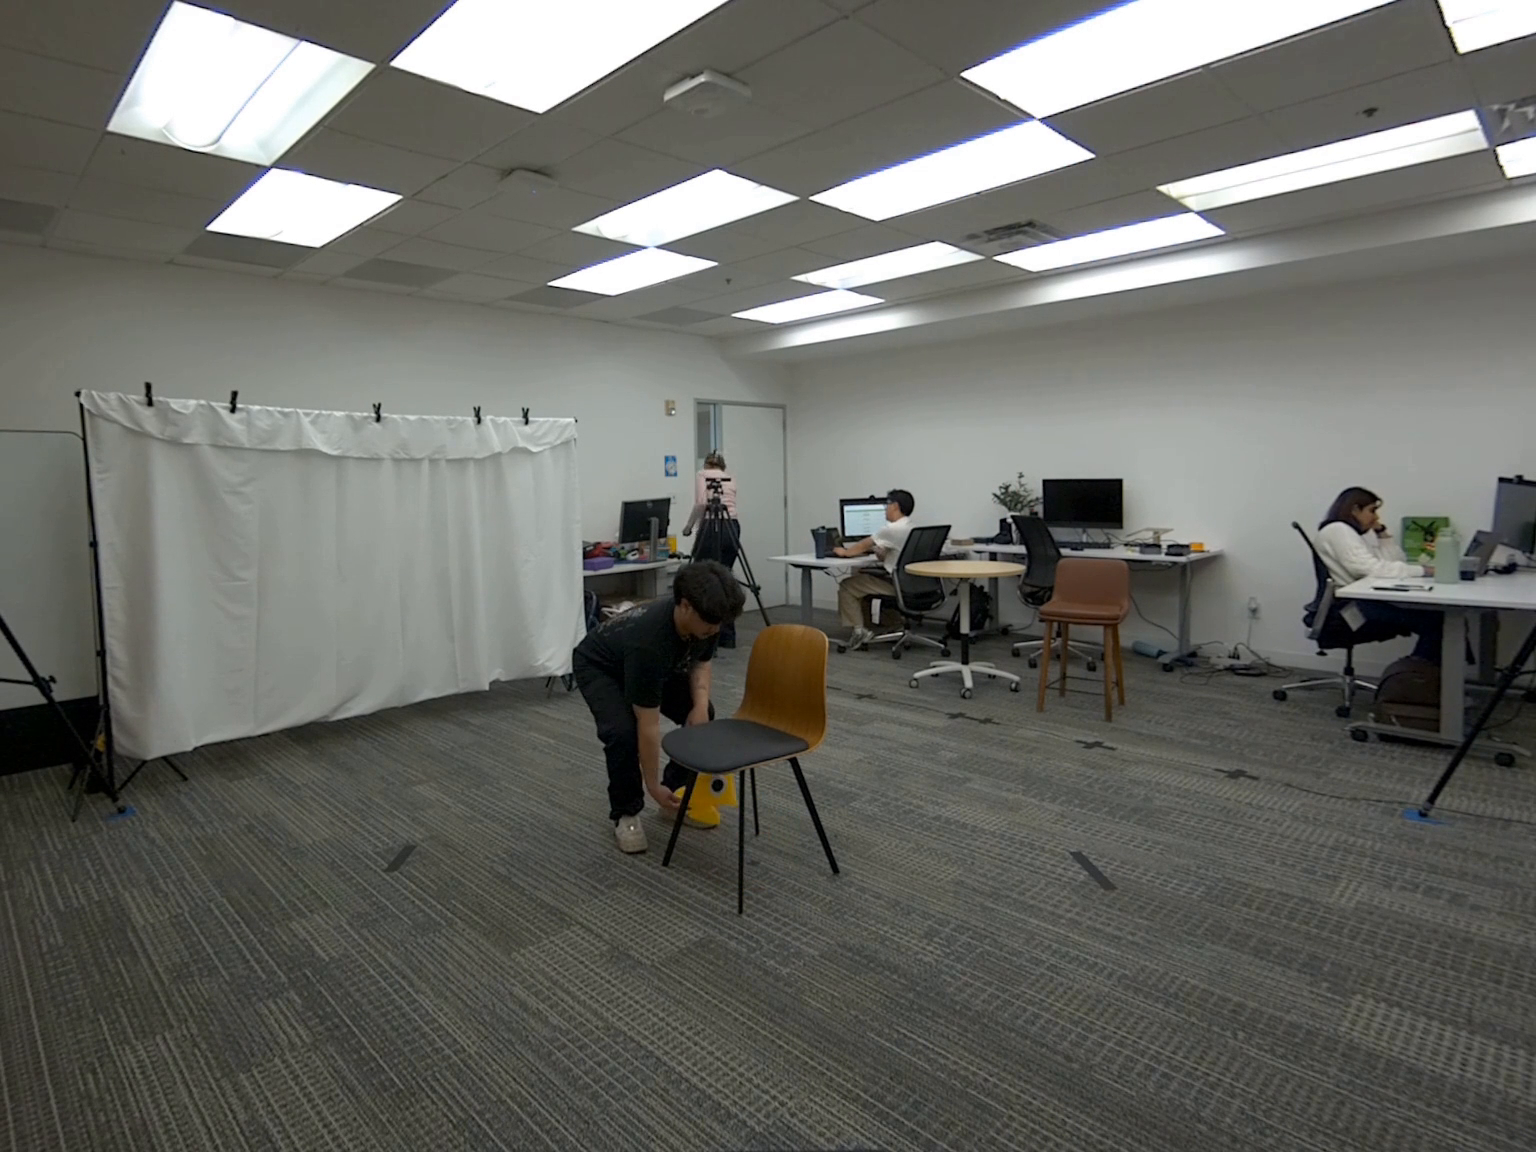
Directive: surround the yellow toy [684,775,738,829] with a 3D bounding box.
[{"bbox_3d":[-0.224,0.782,3.201,0.186,0.231,0.212,24,-4,-43],"label":"yellow toy"}]
